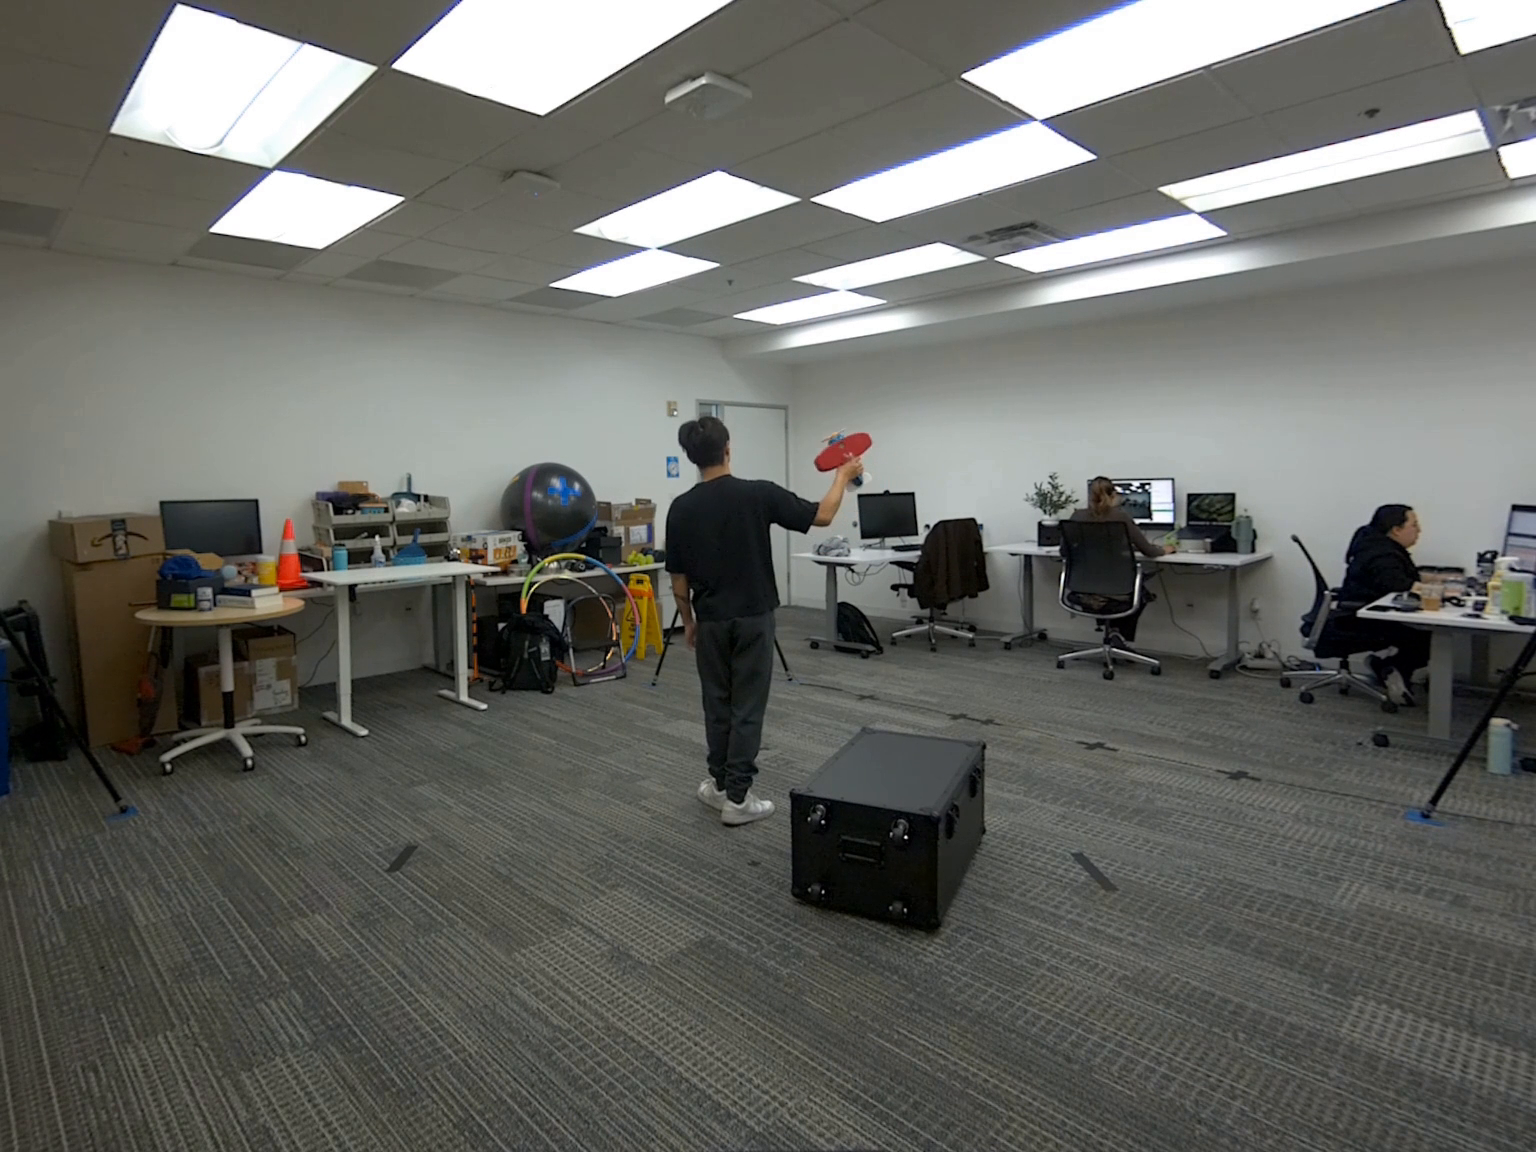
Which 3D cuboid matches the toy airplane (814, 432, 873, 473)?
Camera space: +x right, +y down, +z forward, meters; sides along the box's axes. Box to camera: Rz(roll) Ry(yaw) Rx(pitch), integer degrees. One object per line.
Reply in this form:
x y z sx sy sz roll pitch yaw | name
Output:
0.359 -0.511 3.732 0.263 0.251 0.154 35 -3 12 | toy airplane
